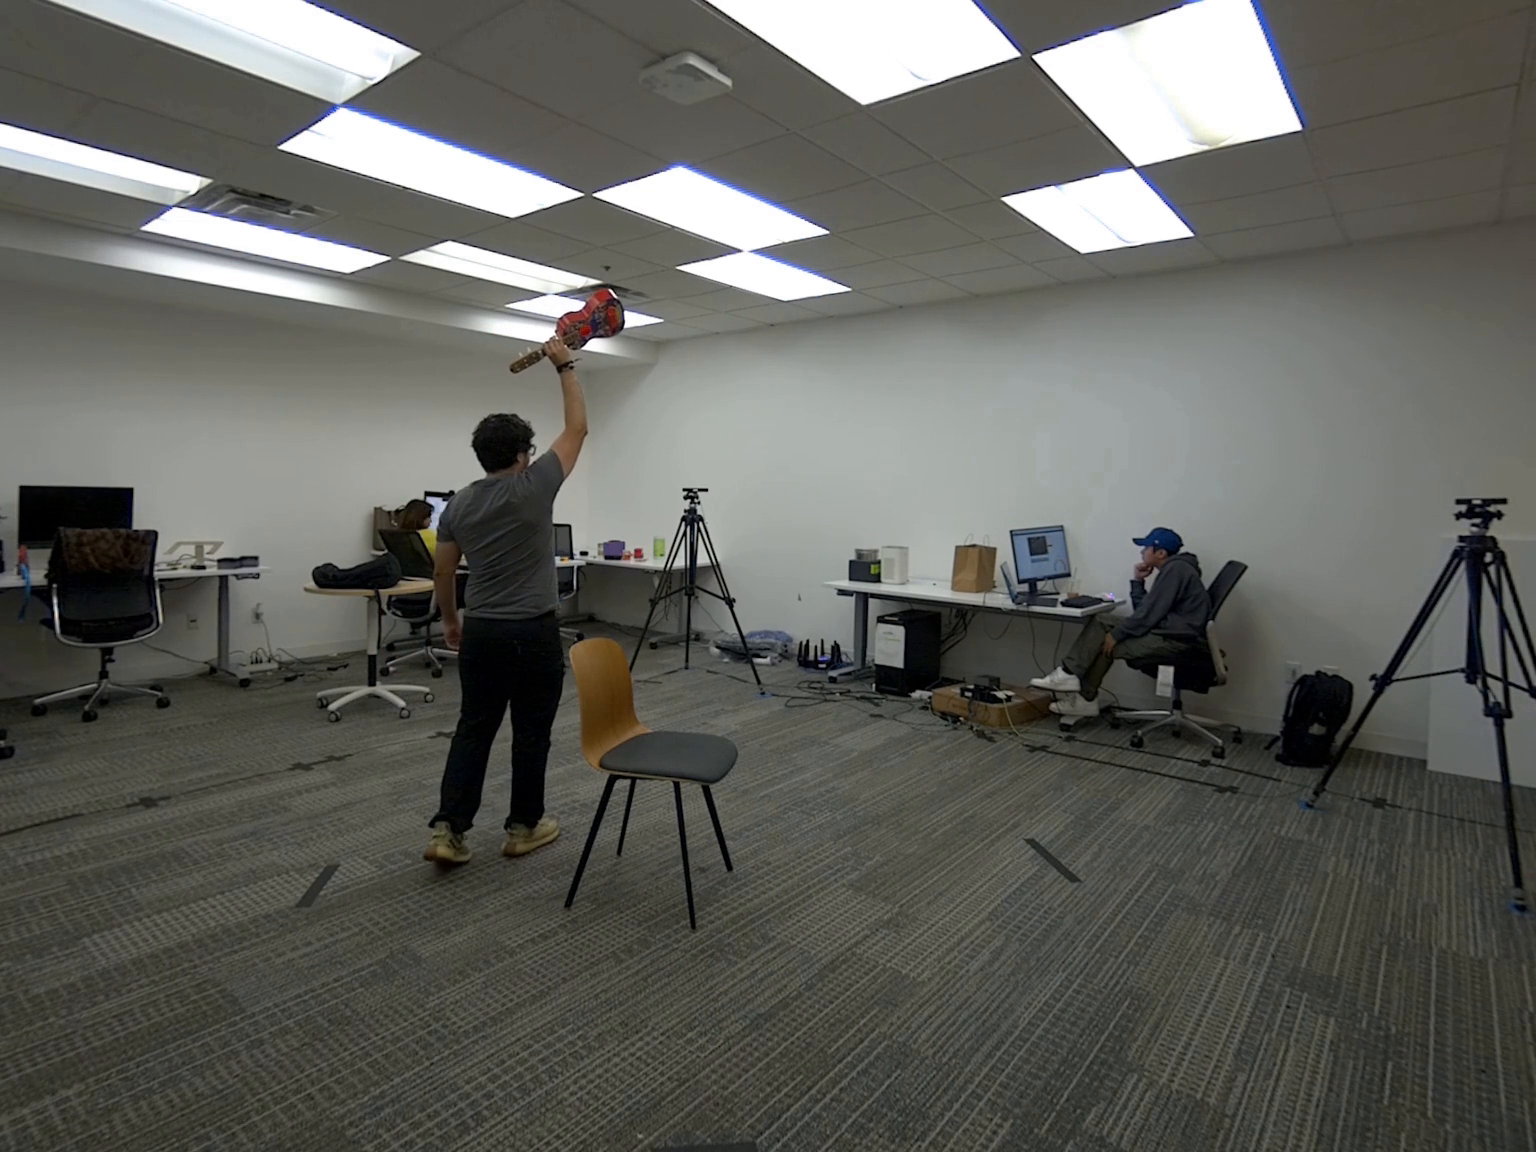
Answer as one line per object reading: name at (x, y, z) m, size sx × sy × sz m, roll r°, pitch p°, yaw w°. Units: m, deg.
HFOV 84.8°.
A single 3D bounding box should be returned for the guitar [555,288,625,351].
guitar at (-0.793, -0.939, 3.245) m, size 0.493 × 0.073 × 0.188 m, roll -28°, pitch -29°, yaw -18°
